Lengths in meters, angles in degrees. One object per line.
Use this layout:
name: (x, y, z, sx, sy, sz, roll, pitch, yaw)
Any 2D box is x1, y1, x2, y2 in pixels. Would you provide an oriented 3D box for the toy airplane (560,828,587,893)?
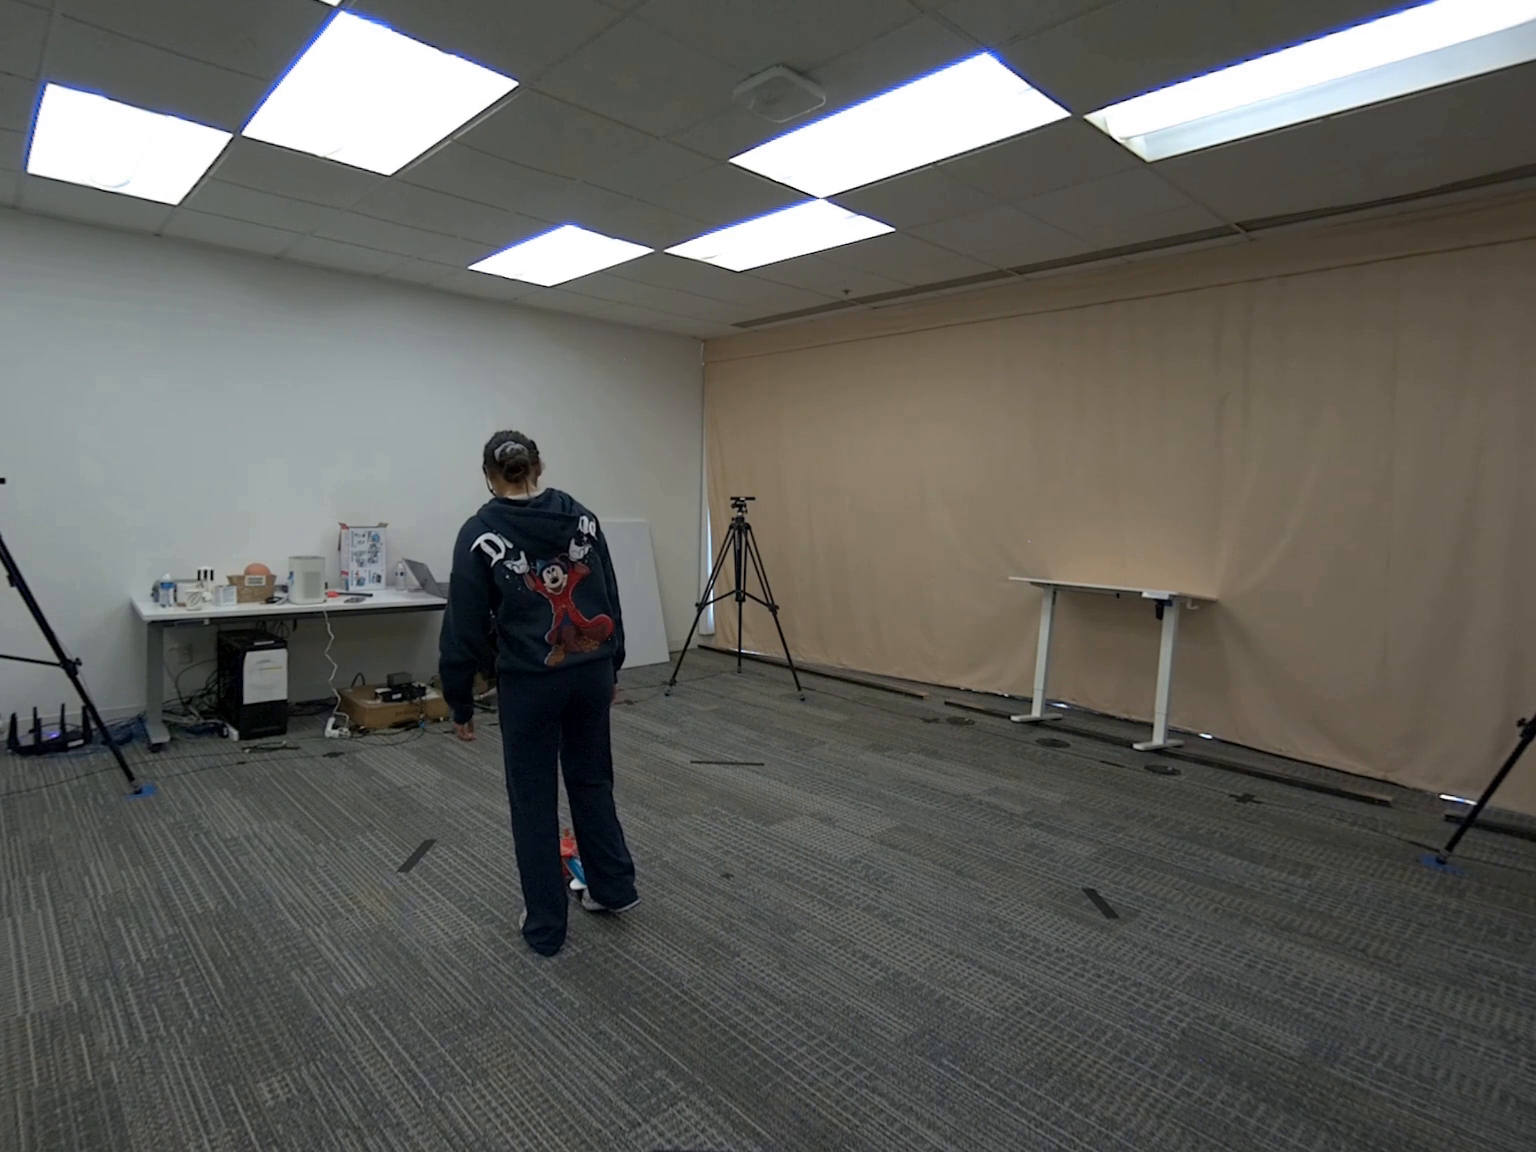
toy airplane: (-0.669, 1.030, 2.993, 0.265, 0.156, 0.246, 4, 5, 32)
